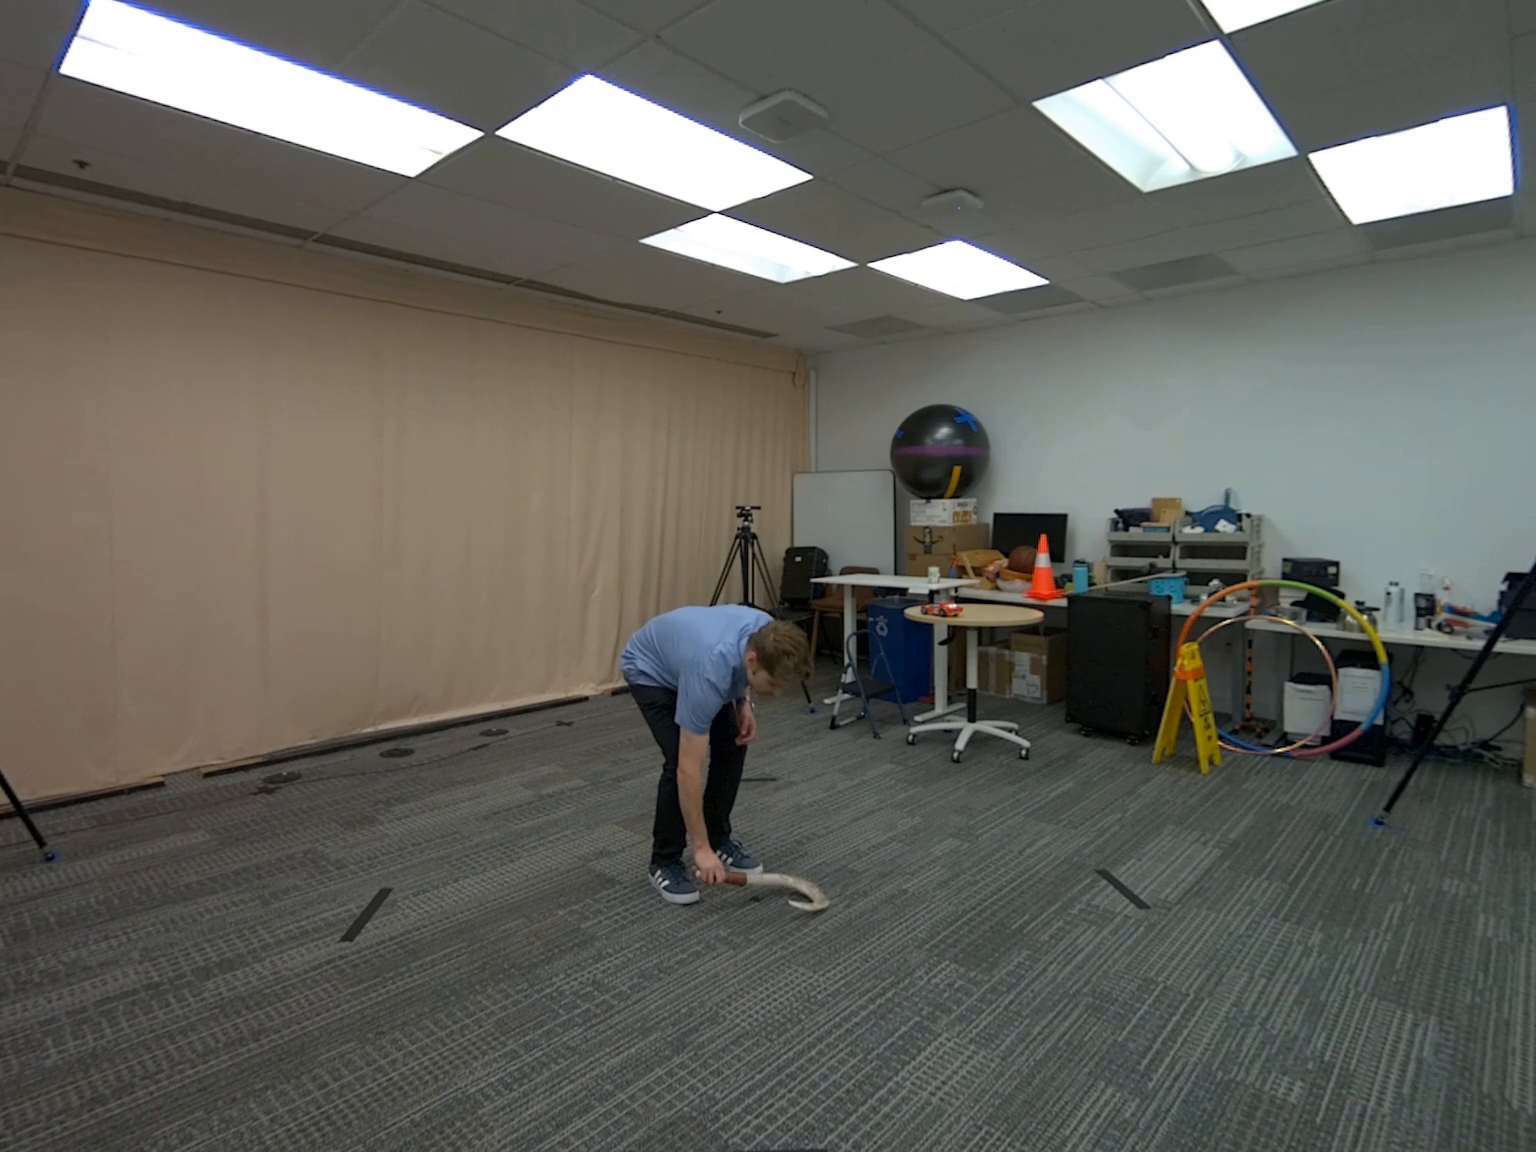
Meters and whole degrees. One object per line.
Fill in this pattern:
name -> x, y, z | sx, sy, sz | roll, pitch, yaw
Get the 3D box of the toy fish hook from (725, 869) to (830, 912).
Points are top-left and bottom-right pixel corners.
toy fish hook -> -0.012, 1.056, 2.869 | 0.493, 0.048, 0.230 | 16, -2, -24
